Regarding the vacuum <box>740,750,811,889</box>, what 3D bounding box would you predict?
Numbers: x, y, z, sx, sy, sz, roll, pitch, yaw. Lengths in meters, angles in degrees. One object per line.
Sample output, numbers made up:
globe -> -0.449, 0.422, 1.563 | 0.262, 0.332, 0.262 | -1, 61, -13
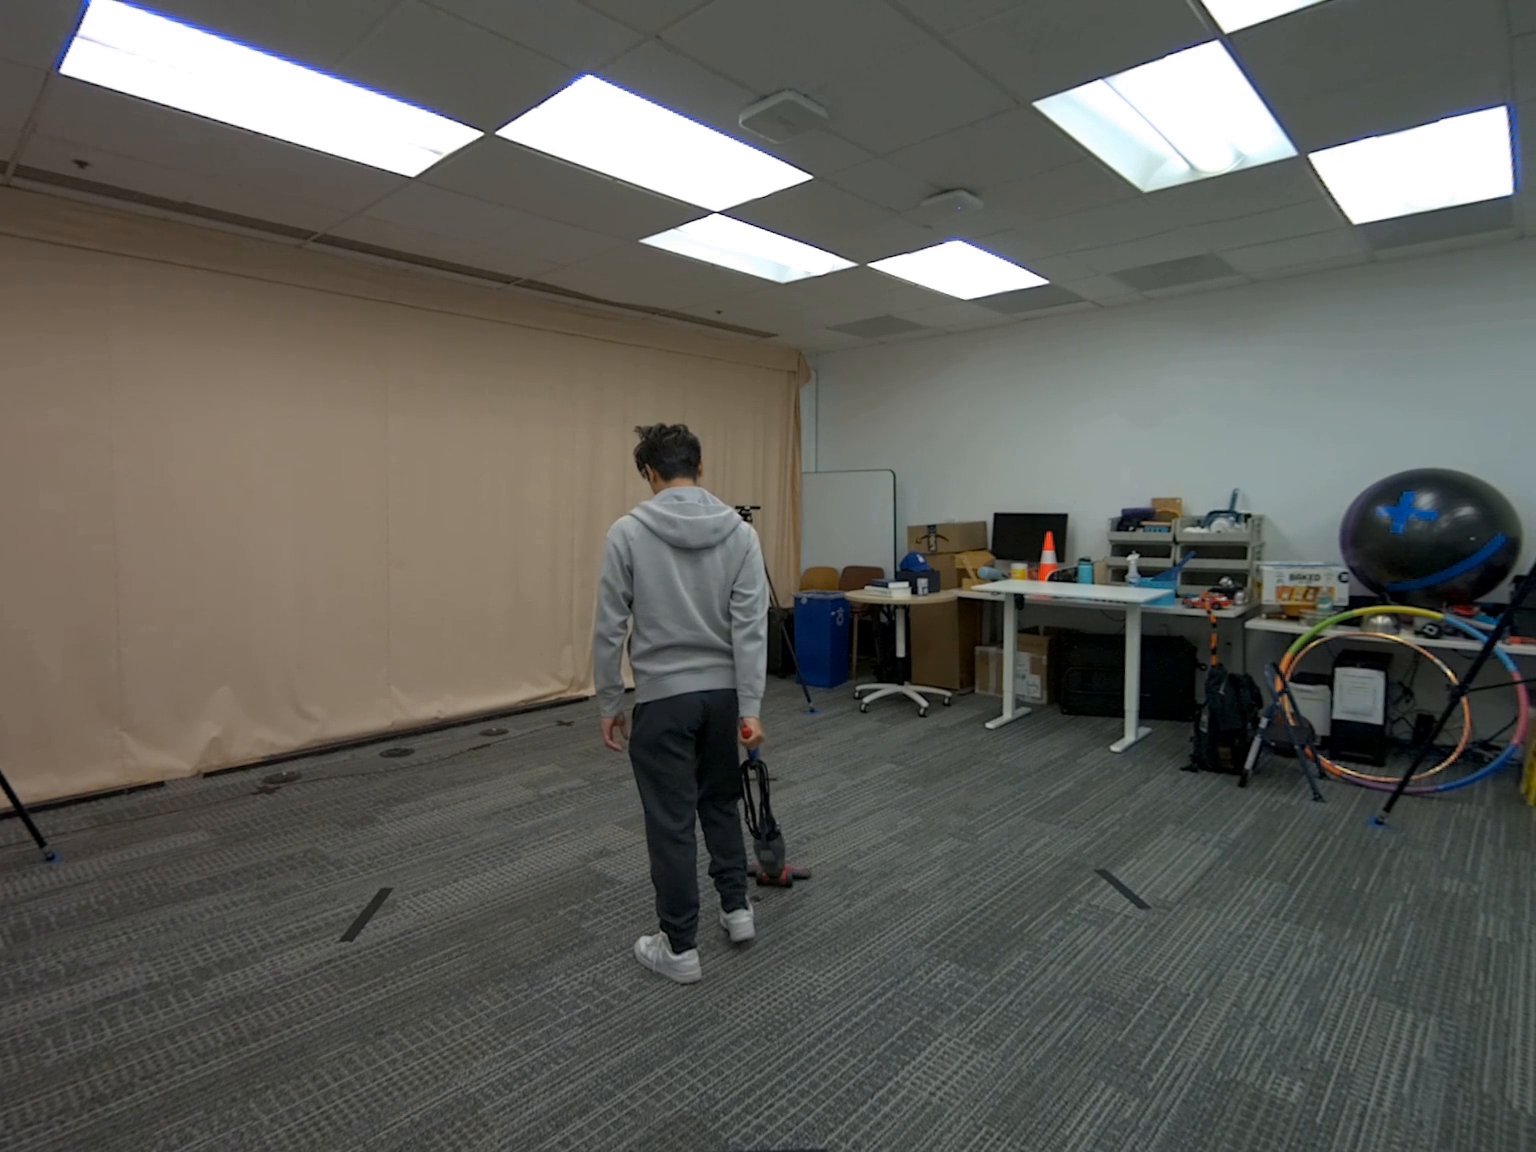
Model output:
vacuum -> -0.011, 0.784, 2.779 | 0.255, 1.025, 0.146 | 2, 48, 9
